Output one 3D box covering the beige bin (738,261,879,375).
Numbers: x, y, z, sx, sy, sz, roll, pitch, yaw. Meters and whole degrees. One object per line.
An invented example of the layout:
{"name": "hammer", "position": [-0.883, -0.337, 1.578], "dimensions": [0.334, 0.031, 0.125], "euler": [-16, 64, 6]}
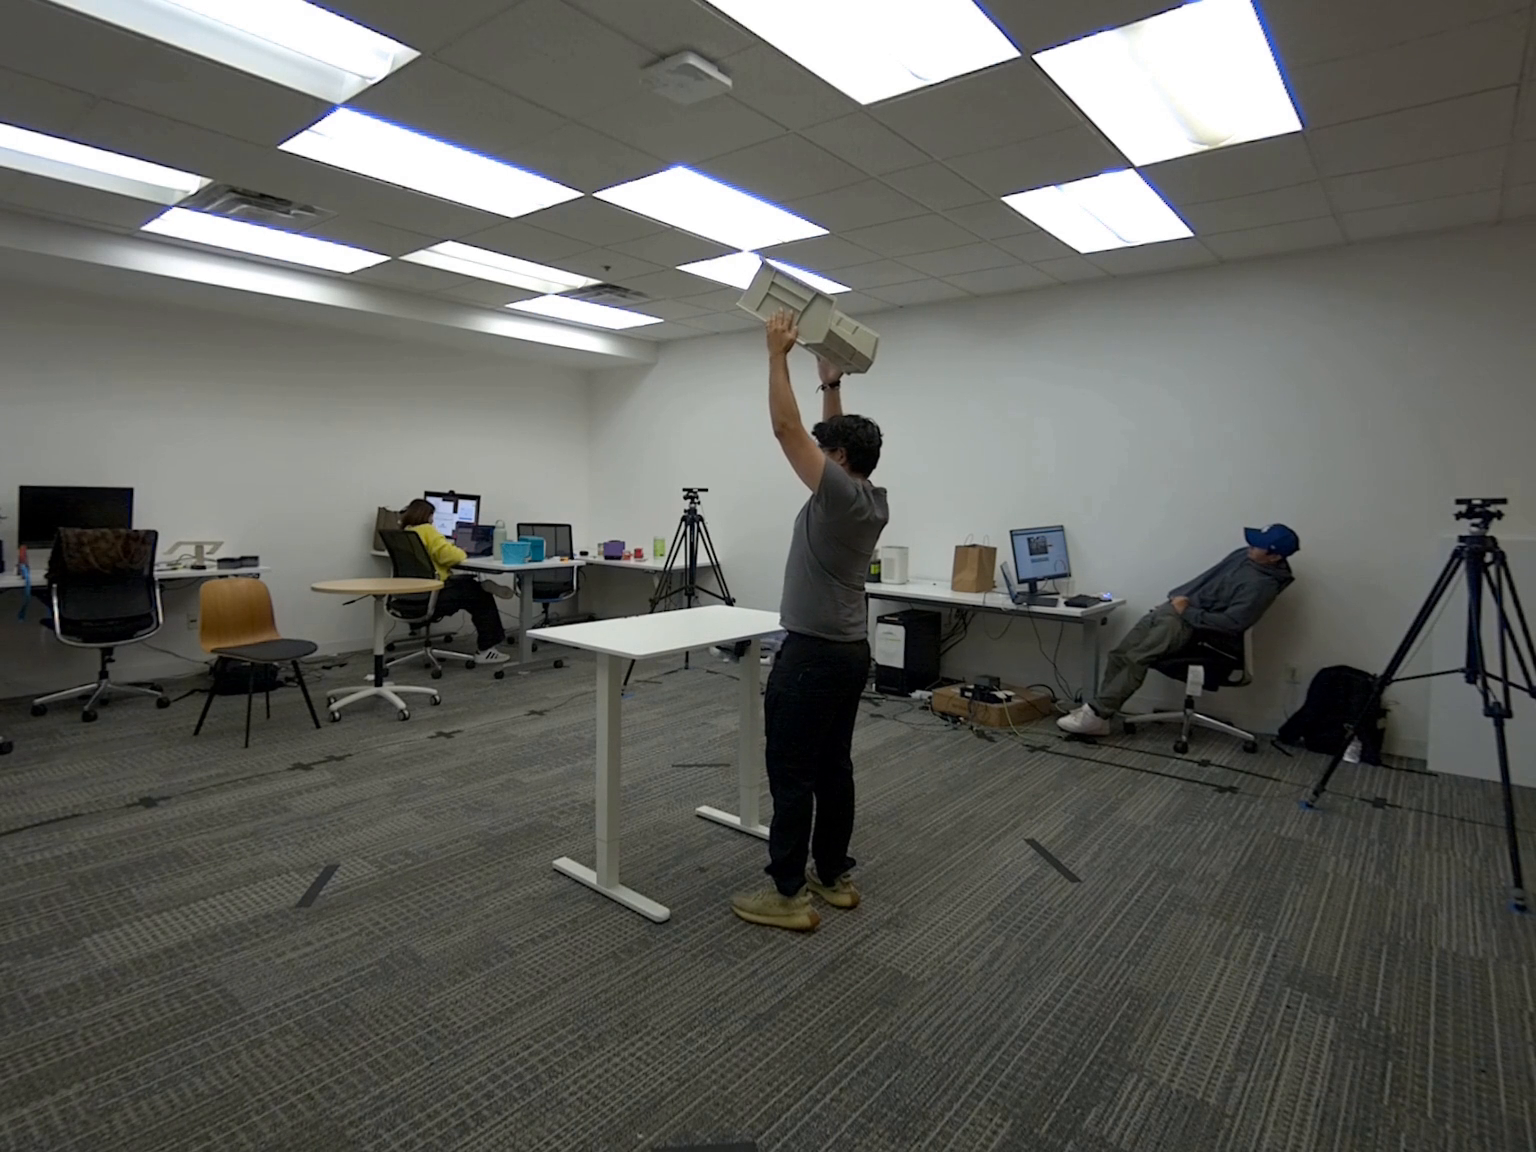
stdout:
{"name": "beige bin", "position": [0.144, -0.890, 2.975], "dimensions": [0.390, 0.188, 0.410], "euler": [37, 15, 25]}
